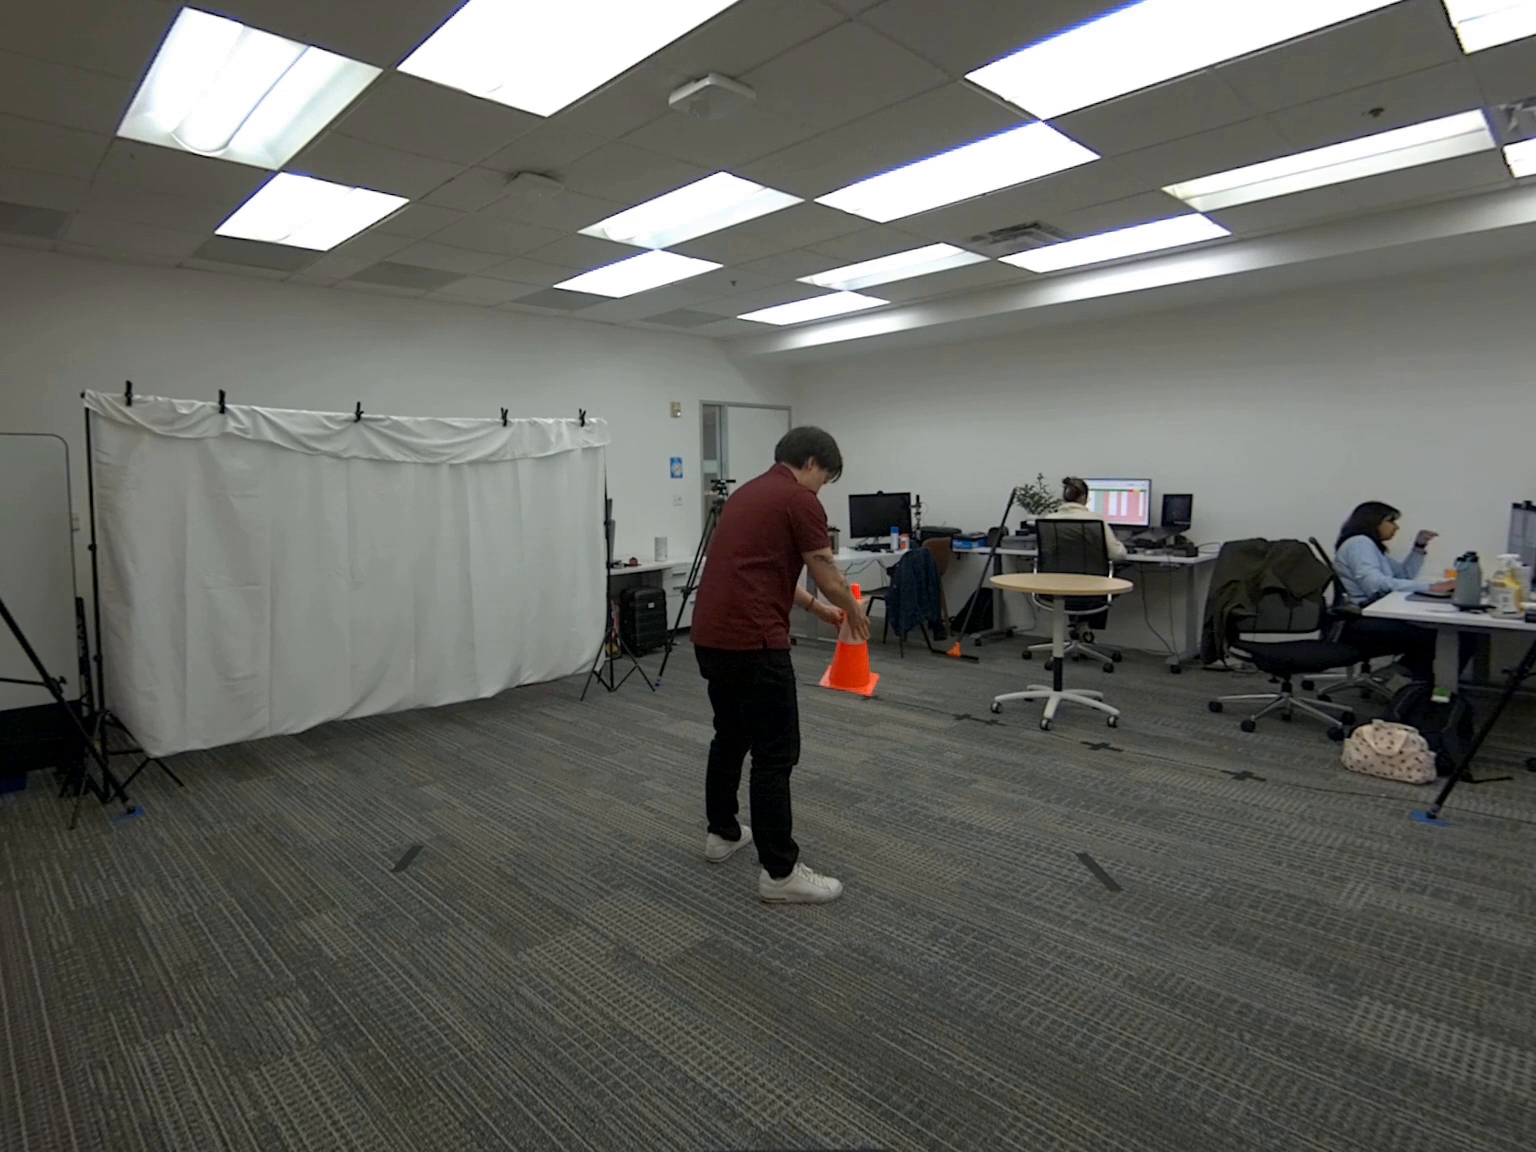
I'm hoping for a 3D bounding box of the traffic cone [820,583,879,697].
[{"bbox_3d":[0.321,0.216,3.195,0.208,0.378,0.203,5,16,15],"label":"traffic cone"}]
